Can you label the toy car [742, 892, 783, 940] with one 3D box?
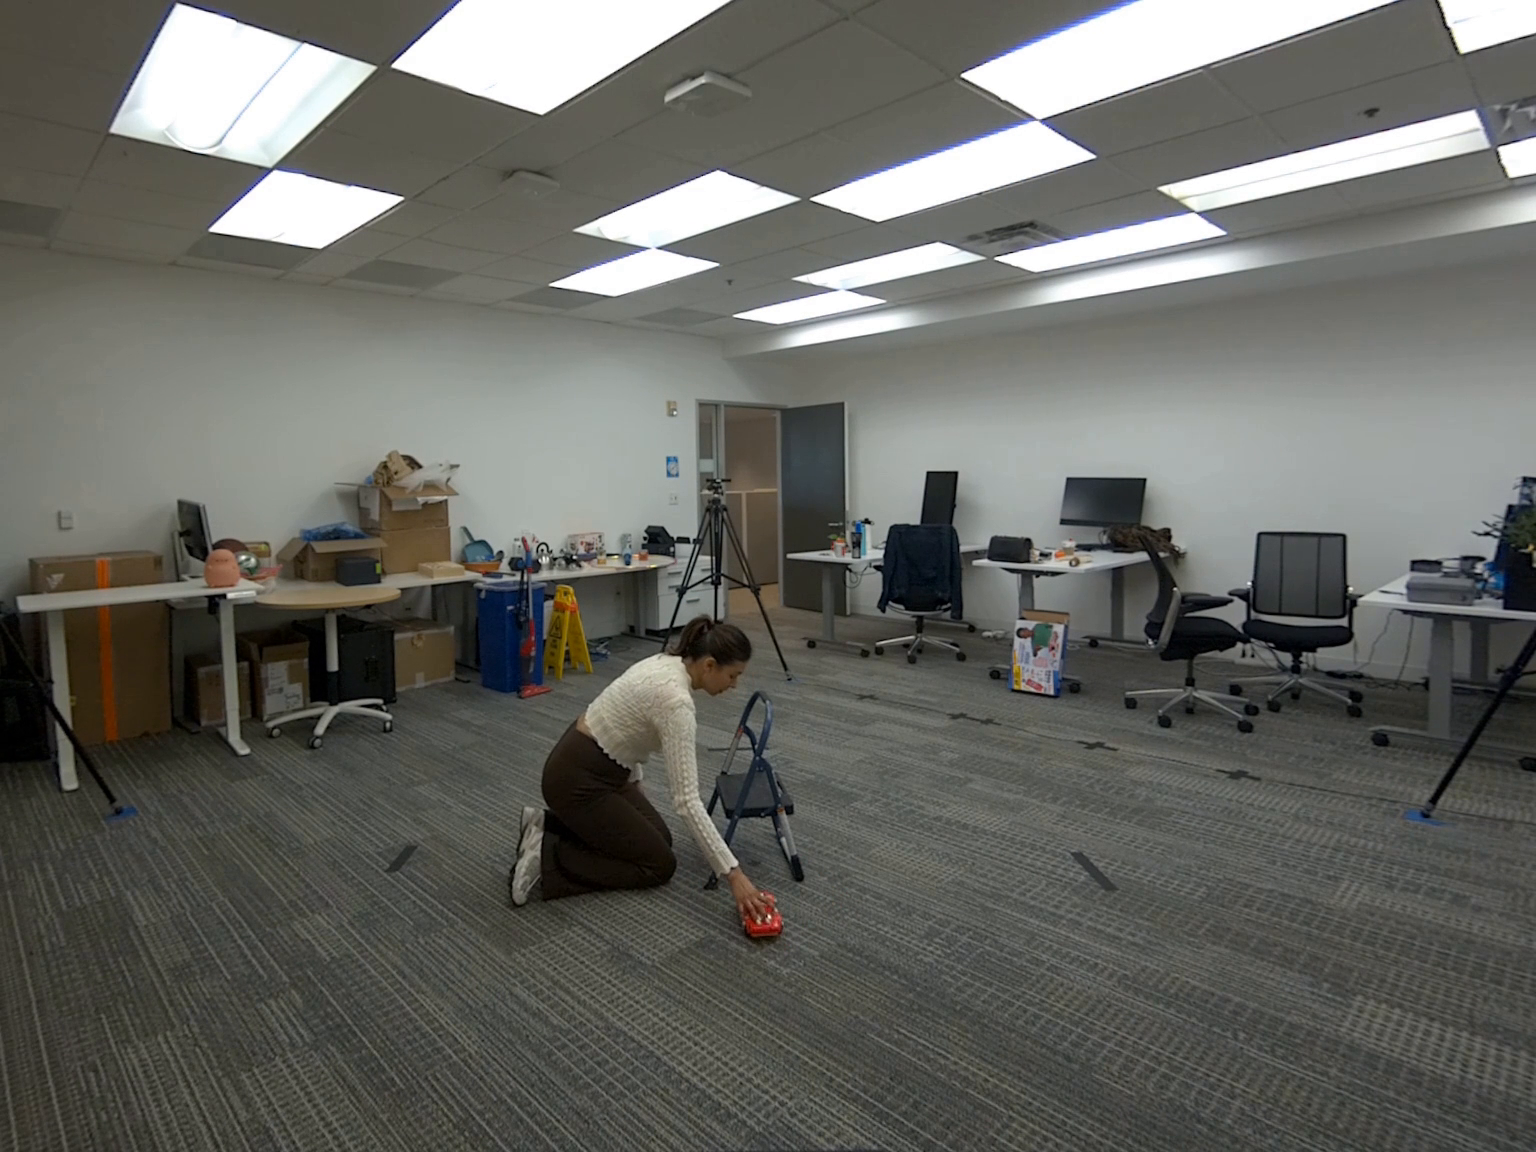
[{"bbox_3d":[-0.029,1.063,2.668,0.129,0.083,0.255,-2,-3,-9],"label":"toy car"}]
